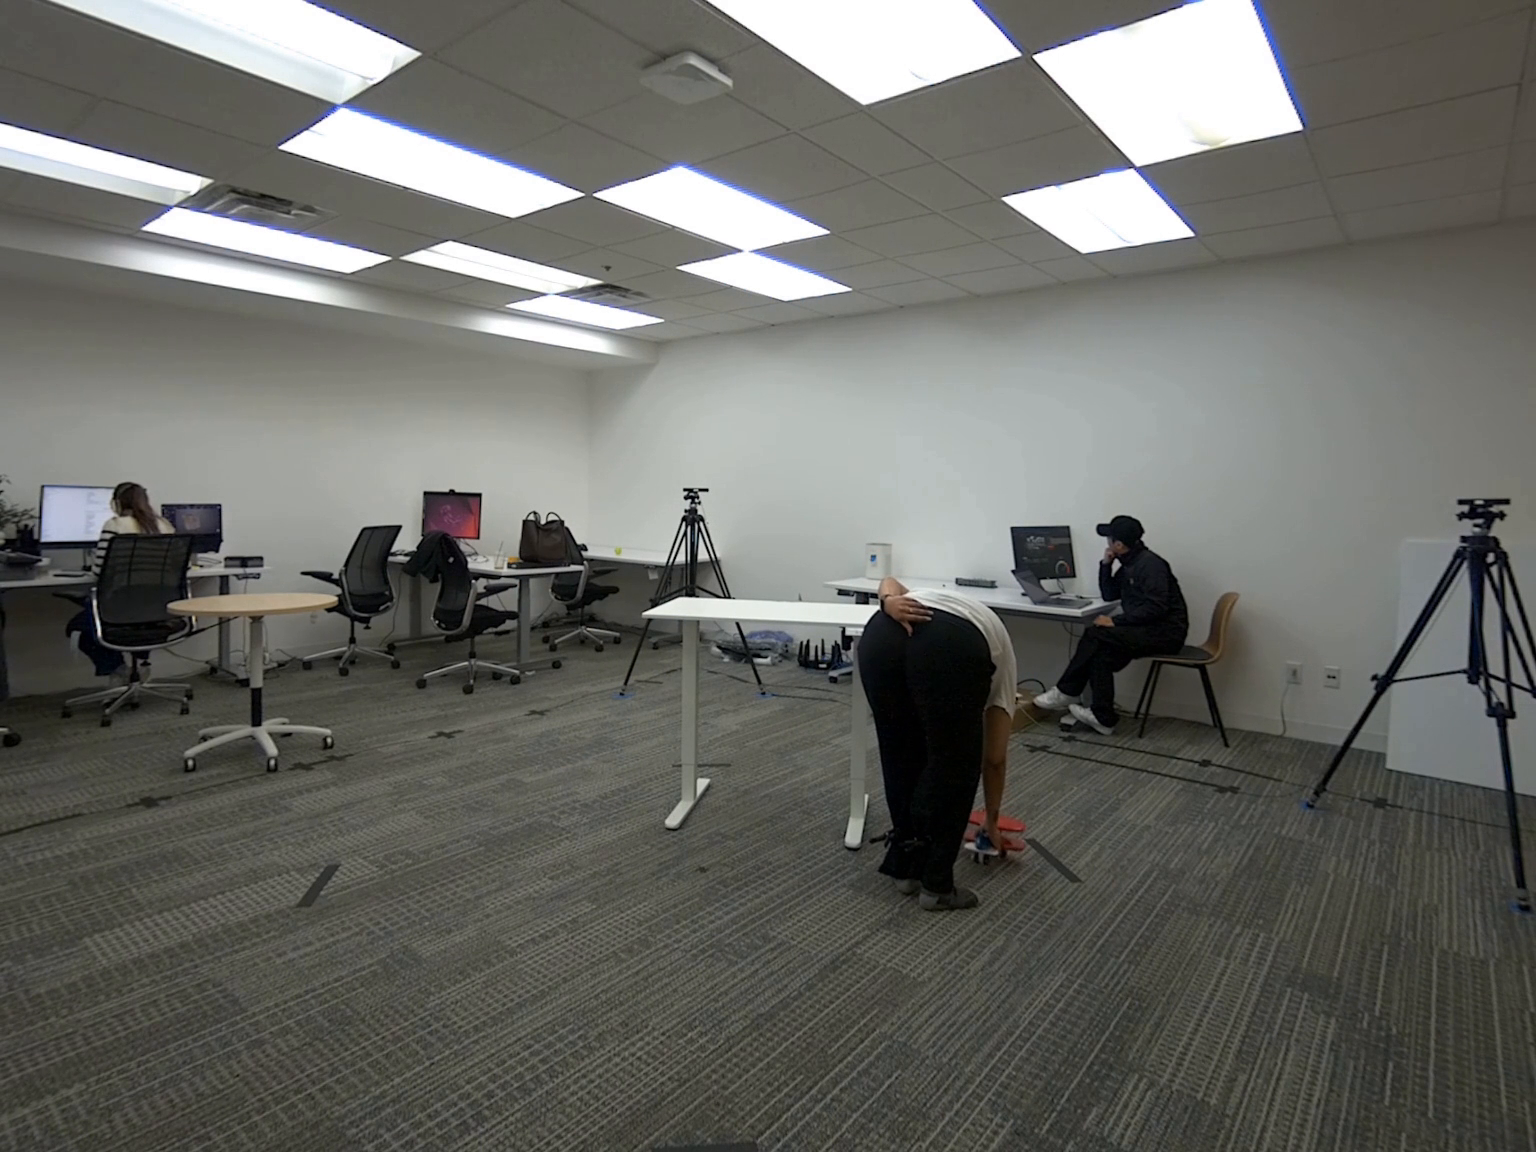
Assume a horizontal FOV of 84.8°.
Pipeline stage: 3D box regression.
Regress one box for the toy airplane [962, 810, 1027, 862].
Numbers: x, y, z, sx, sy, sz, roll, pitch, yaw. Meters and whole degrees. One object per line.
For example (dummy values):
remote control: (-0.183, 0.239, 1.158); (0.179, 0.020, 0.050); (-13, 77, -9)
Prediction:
toy airplane: (0.859, 1.002, 3.240); (0.252, 0.157, 0.258); (5, -2, 1)
